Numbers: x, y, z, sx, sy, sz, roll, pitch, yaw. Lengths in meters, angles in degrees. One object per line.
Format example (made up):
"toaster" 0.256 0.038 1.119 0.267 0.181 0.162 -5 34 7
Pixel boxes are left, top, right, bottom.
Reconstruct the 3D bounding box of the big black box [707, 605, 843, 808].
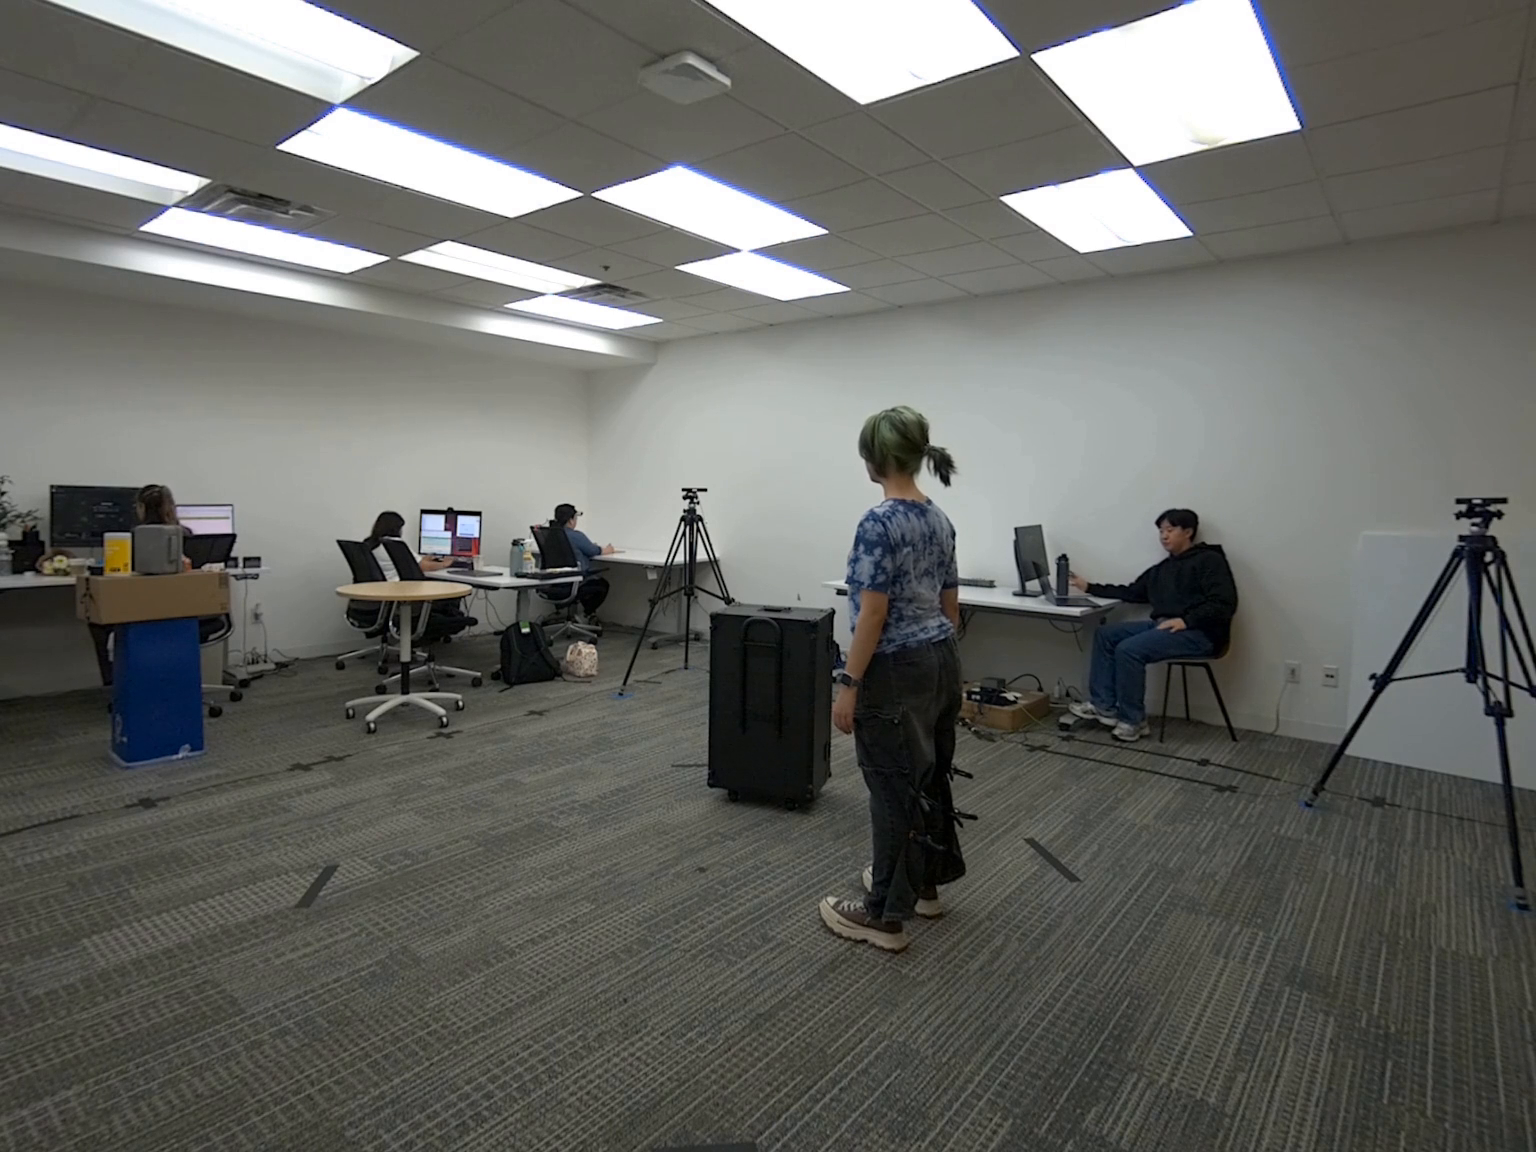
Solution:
"big black box" 0.012 0.579 3.830 0.532 0.858 0.389 2 4 19
